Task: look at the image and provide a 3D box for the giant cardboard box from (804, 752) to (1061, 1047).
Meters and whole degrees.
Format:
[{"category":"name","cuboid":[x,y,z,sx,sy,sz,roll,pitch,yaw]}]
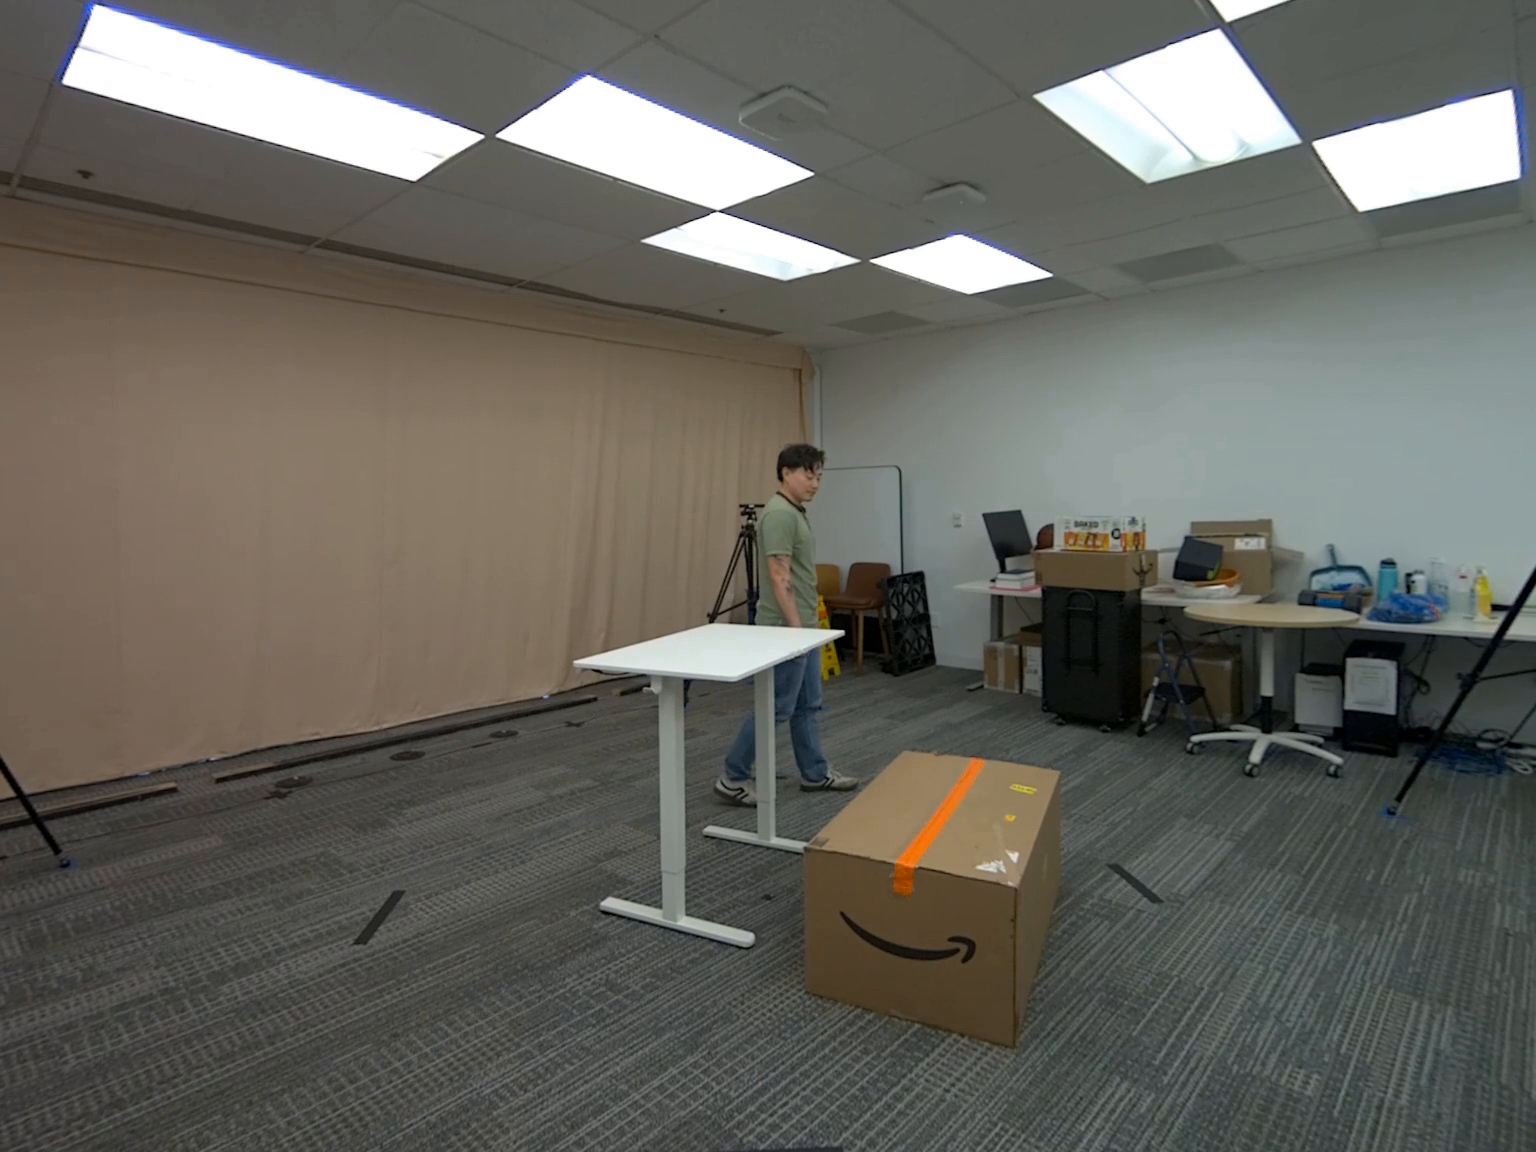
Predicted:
[{"category":"giant cardboard box","cuboid":[0.580,0.937,2.702,0.593,0.425,1.002,2,5,25]}]
